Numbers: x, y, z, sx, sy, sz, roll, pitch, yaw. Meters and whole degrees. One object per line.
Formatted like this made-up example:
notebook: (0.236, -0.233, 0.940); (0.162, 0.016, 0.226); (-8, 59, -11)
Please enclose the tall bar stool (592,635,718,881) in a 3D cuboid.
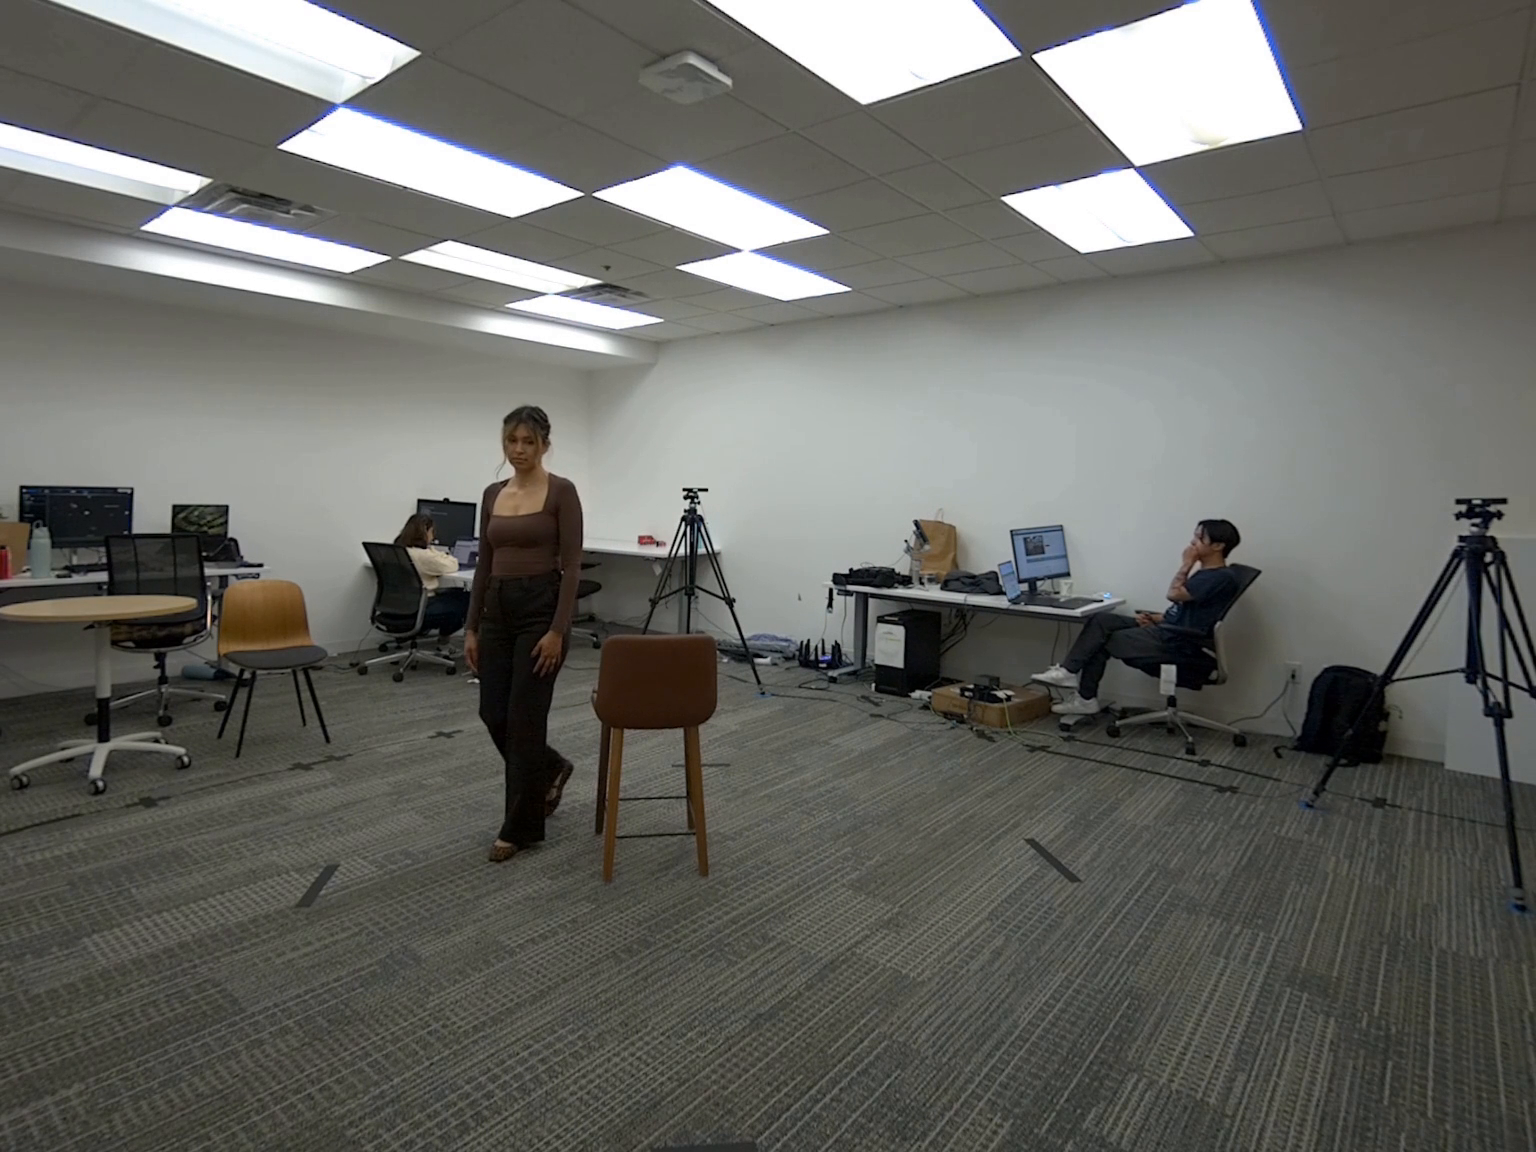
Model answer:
tall bar stool: (-0.445, 0.625, 3.217); (0.451, 0.886, 0.475); (0, 4, -11)
